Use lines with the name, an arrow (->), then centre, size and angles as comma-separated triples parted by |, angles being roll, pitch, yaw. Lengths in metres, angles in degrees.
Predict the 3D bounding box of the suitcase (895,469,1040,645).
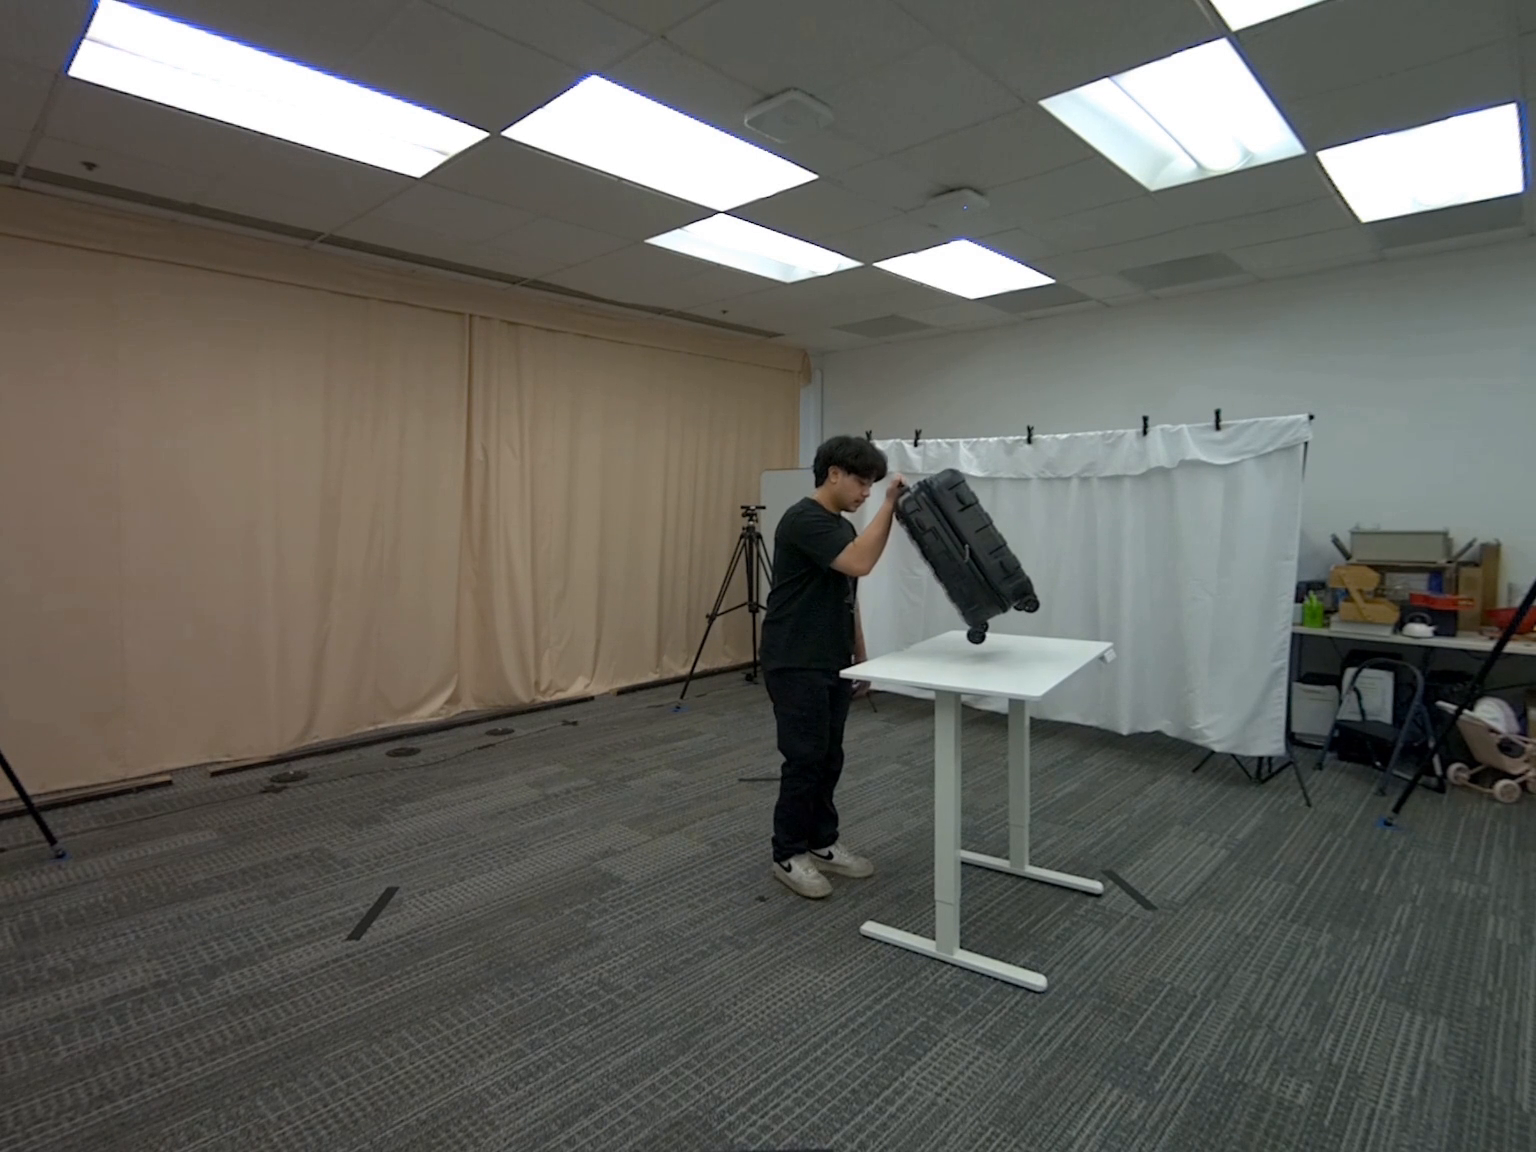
suitcase -> 0.665, -0.077, 2.835 | 0.250, 0.554, 0.370 | -30, -7, 8
